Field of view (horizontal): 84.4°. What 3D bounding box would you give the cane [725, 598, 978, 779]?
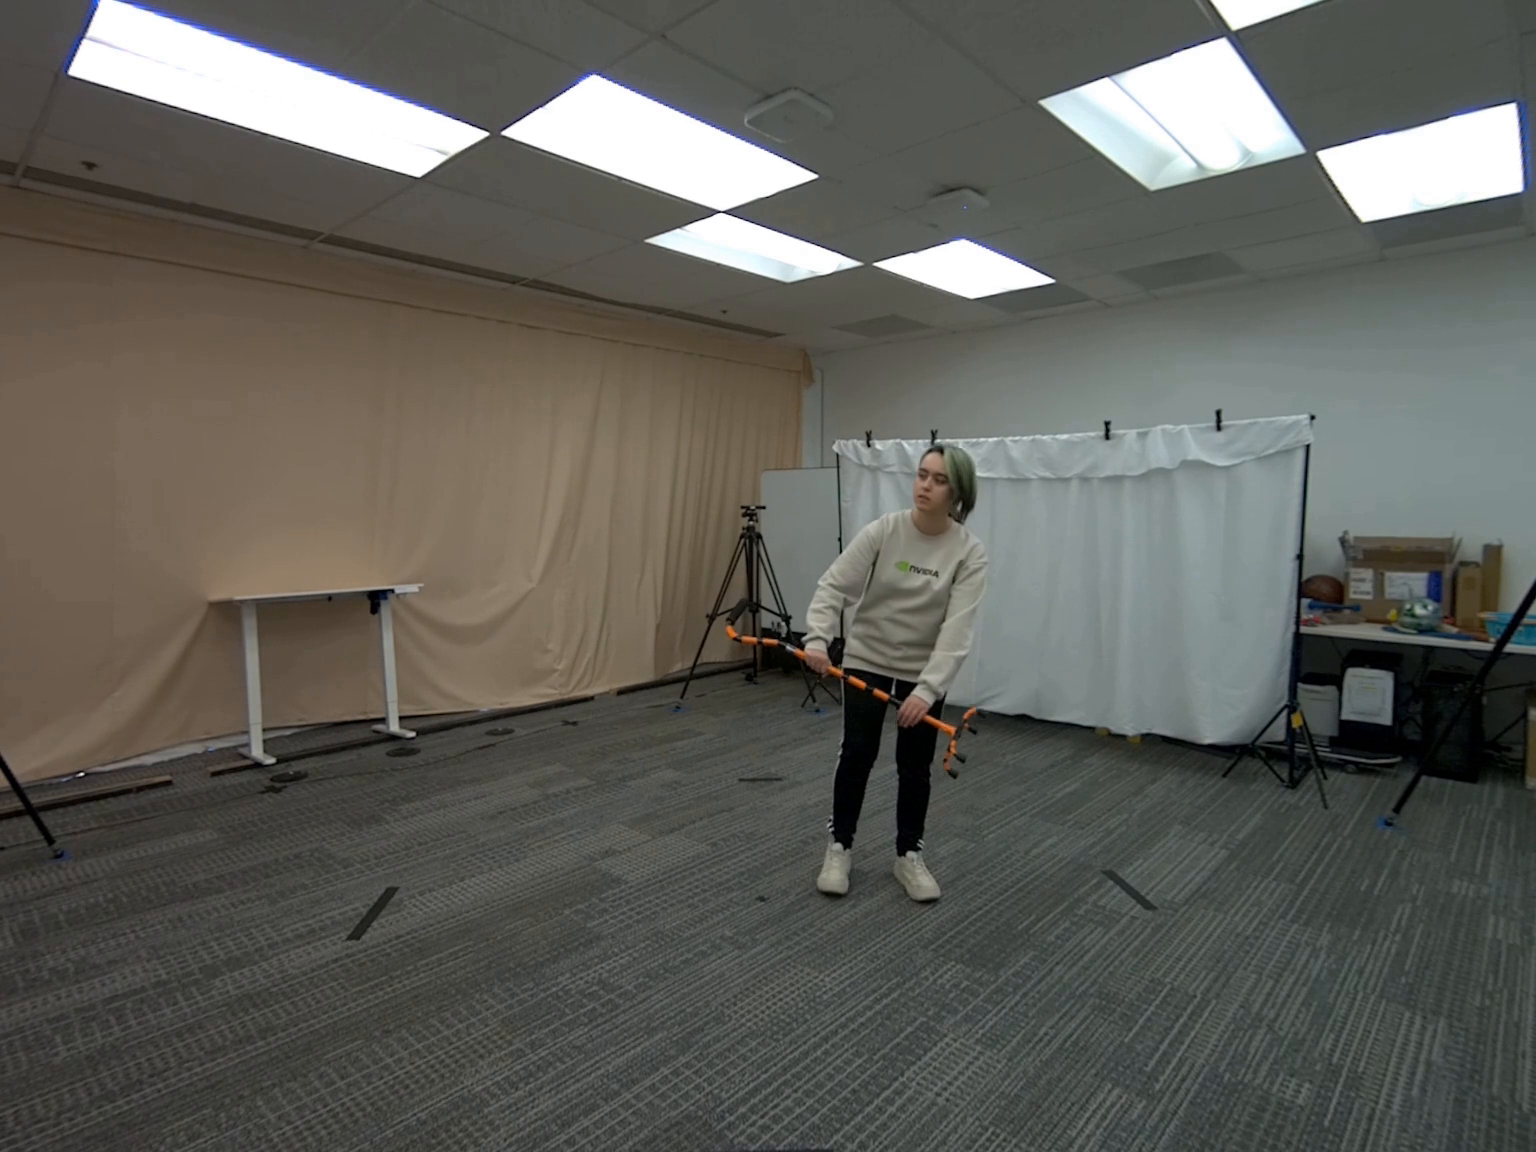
[{"bbox_3d":[0.249,0.368,2.800,0.928,0.206,0.149,25,-32,18],"label":"cane"}]
